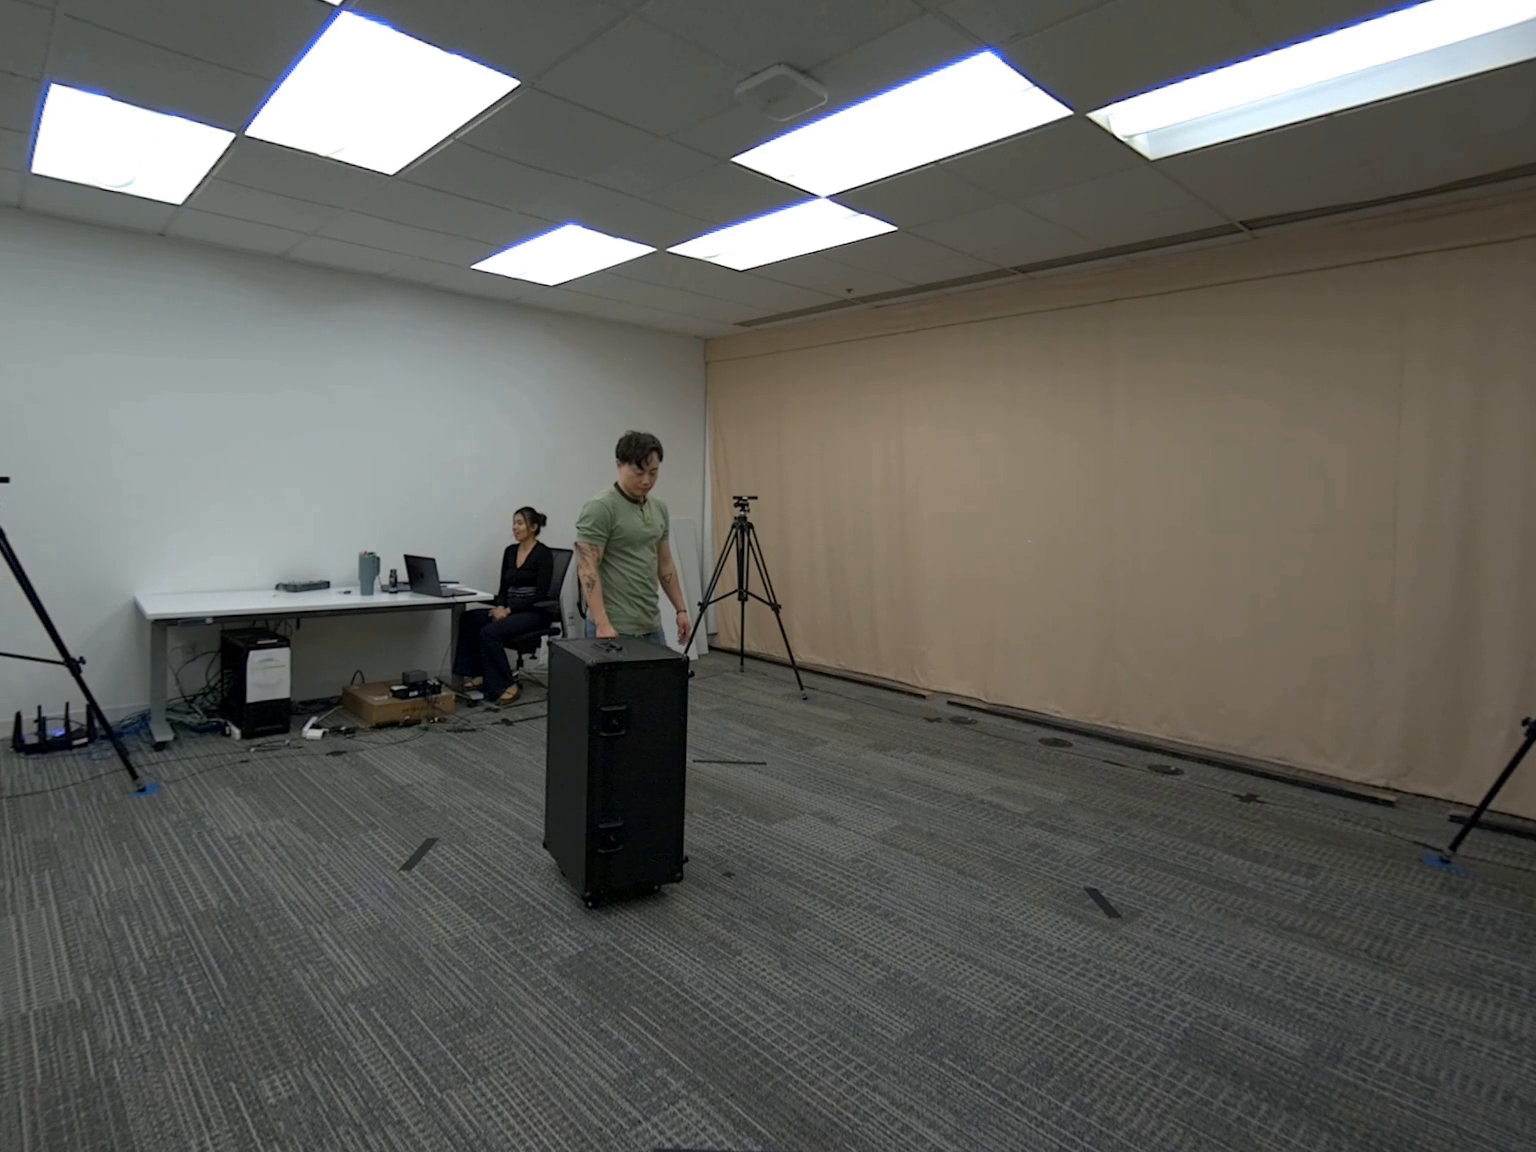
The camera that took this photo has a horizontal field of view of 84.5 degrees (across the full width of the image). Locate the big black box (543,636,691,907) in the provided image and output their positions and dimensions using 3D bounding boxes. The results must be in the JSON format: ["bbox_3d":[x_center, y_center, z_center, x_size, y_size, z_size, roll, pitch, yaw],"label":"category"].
[{"bbox_3d":[-0.550,0.681,3.007,0.388,0.860,0.533,1,3,-30],"label":"big black box"}]
